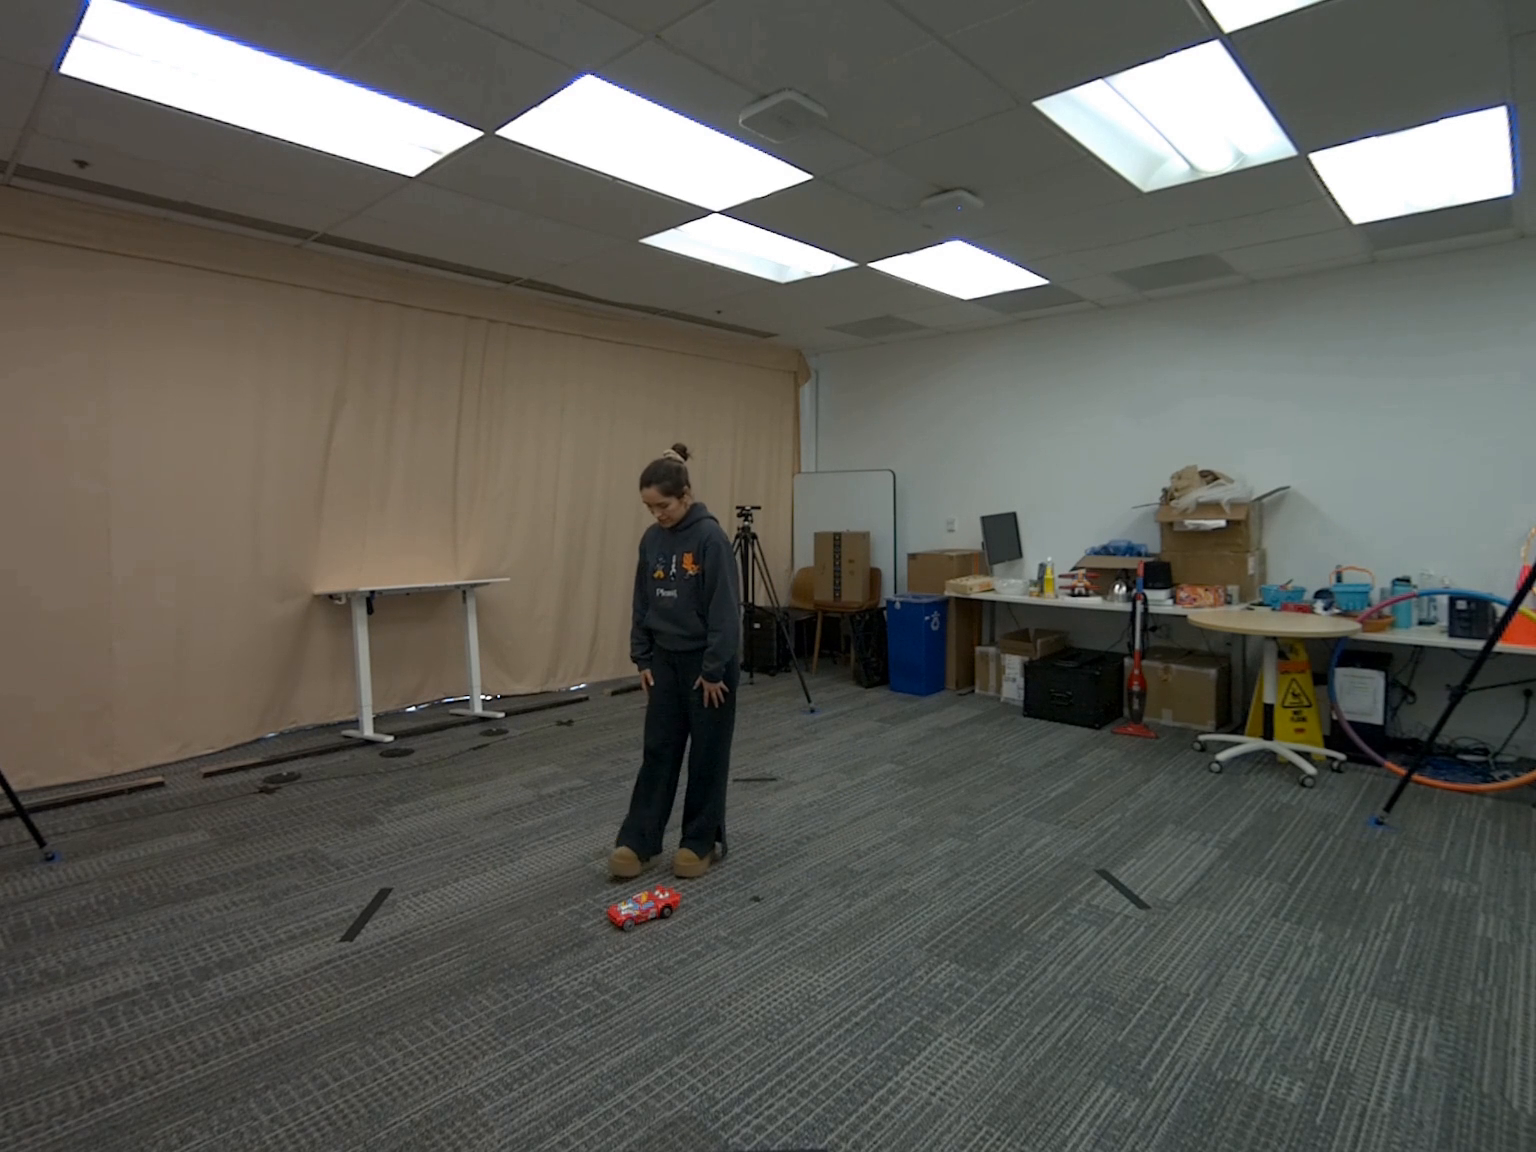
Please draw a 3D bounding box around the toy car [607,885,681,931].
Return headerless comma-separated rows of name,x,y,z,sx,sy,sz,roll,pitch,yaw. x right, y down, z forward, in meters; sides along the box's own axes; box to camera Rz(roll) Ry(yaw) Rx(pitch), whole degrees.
toy car,-0.404,1.124,2.858,0.249,0.082,0.134,-17,13,-33
